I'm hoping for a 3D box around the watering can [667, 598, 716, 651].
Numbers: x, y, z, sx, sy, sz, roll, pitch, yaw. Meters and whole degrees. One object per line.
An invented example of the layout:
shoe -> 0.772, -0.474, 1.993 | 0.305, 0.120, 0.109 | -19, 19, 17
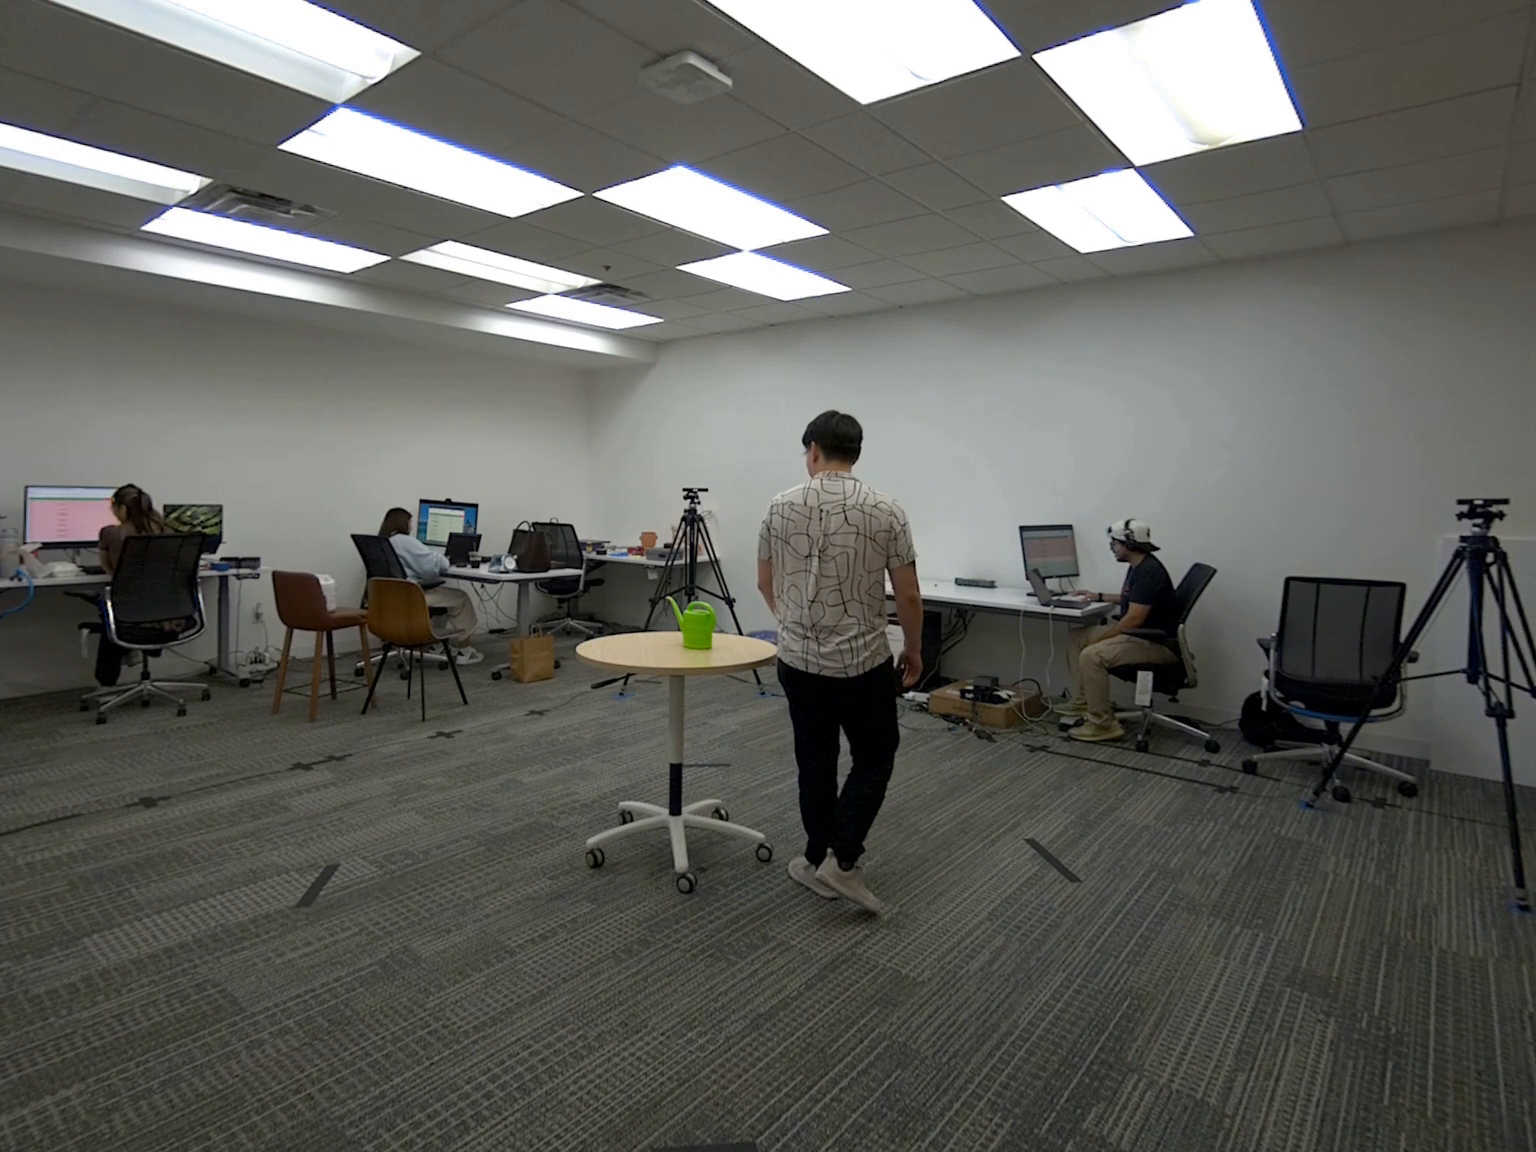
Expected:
watering can -> -0.301, 0.179, 3.292 | 0.095, 0.176, 0.287 | 2, 5, -33
